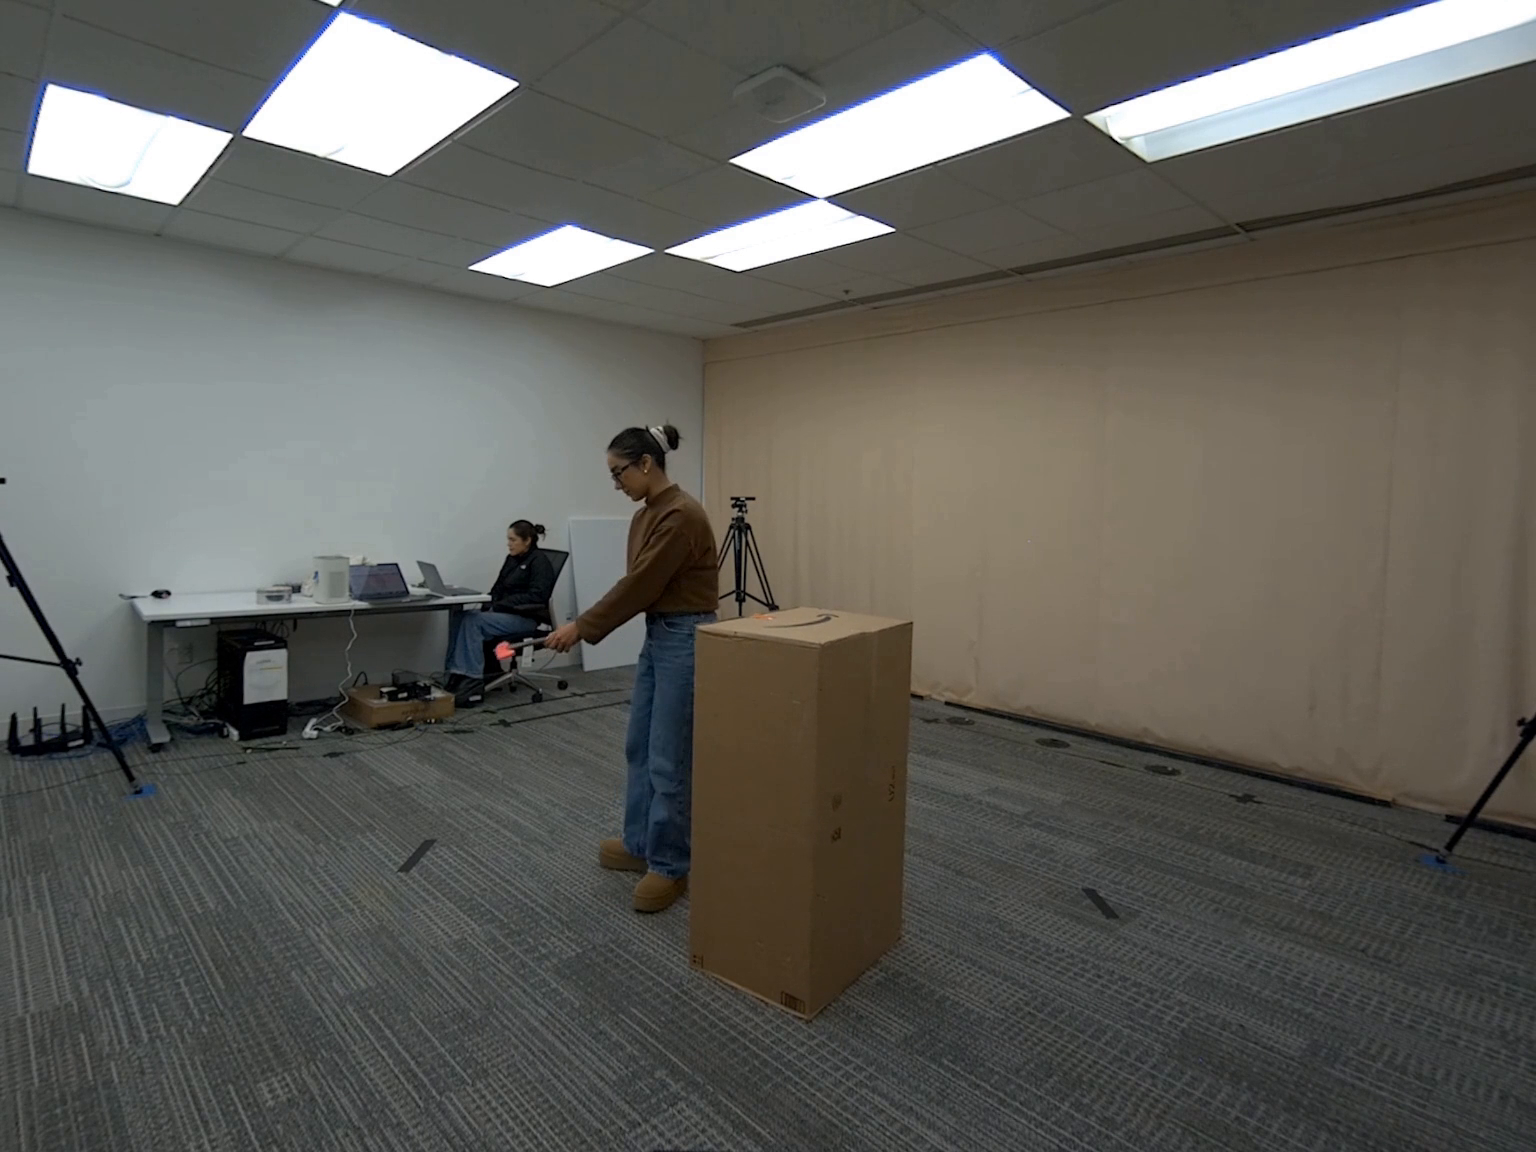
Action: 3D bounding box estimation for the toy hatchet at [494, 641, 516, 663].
[{"bbox_3d":[-0.796,0.251,2.860,0.273,0.029,0.131,-5,18,15],"label":"toy hatchet"}]
